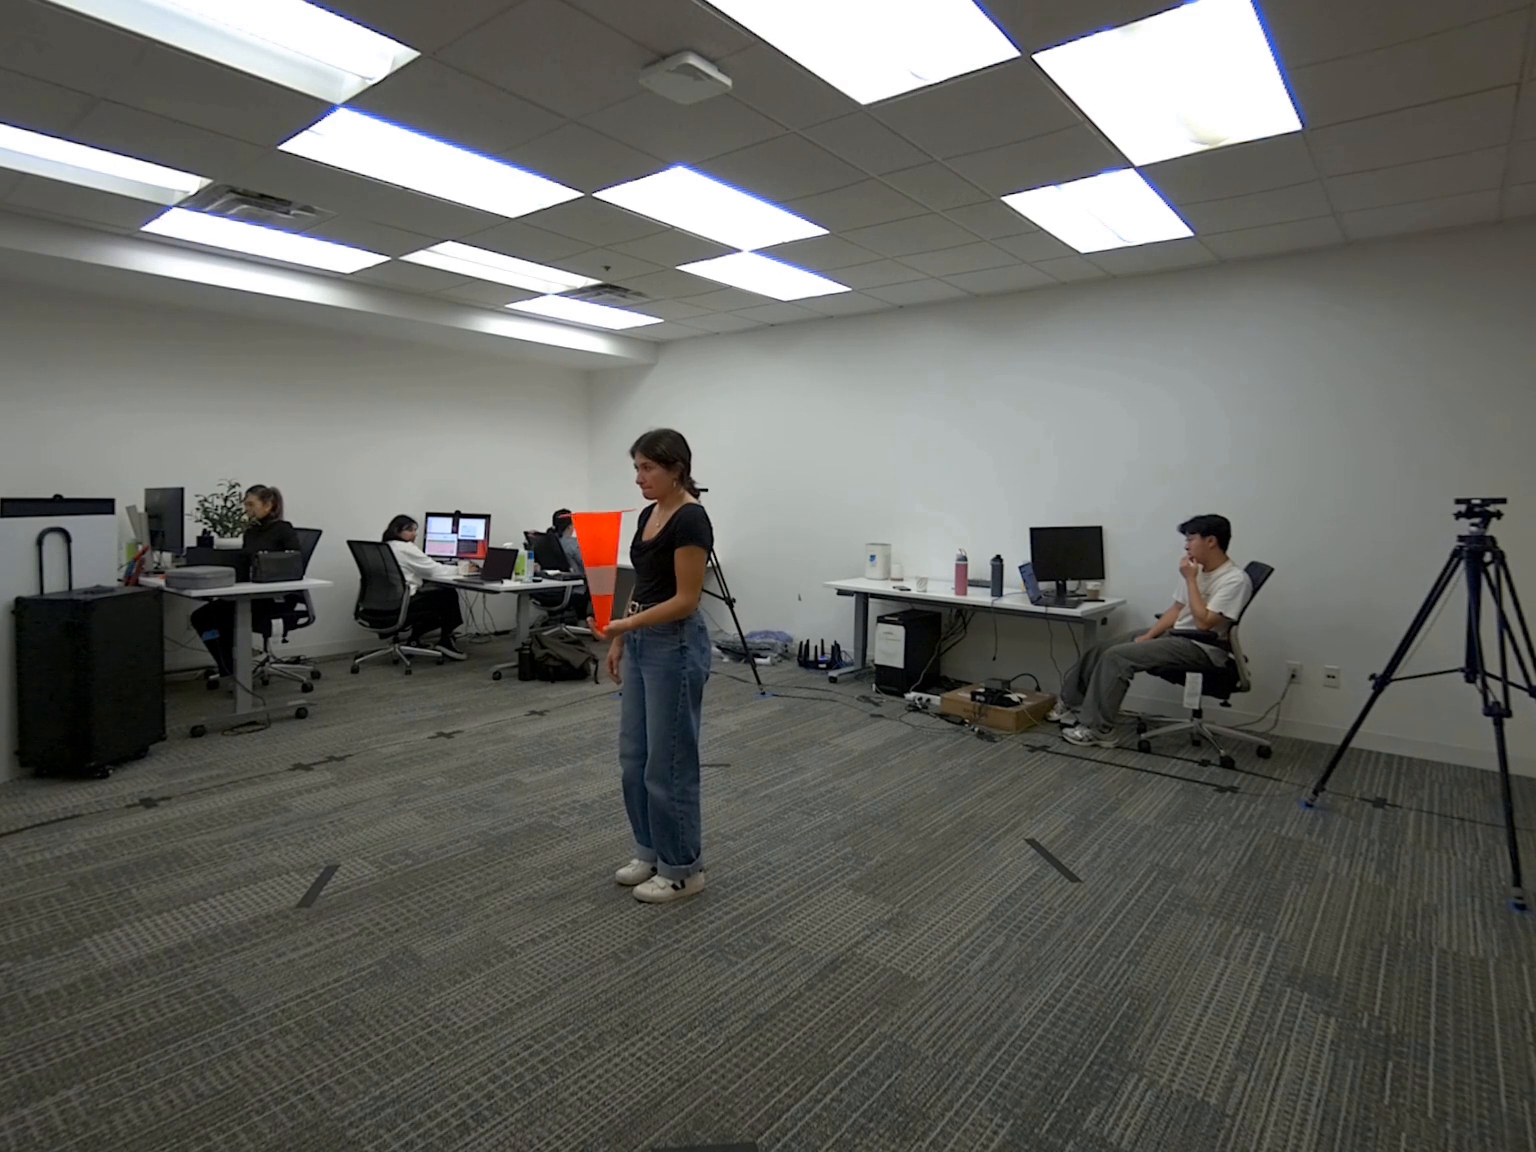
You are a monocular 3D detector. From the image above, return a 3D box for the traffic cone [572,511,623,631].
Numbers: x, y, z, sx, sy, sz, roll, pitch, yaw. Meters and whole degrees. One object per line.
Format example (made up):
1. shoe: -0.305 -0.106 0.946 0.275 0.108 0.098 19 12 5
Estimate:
1. traffic cone: -0.532 -0.022 2.679 0.206 0.384 0.202 -4 0 6
